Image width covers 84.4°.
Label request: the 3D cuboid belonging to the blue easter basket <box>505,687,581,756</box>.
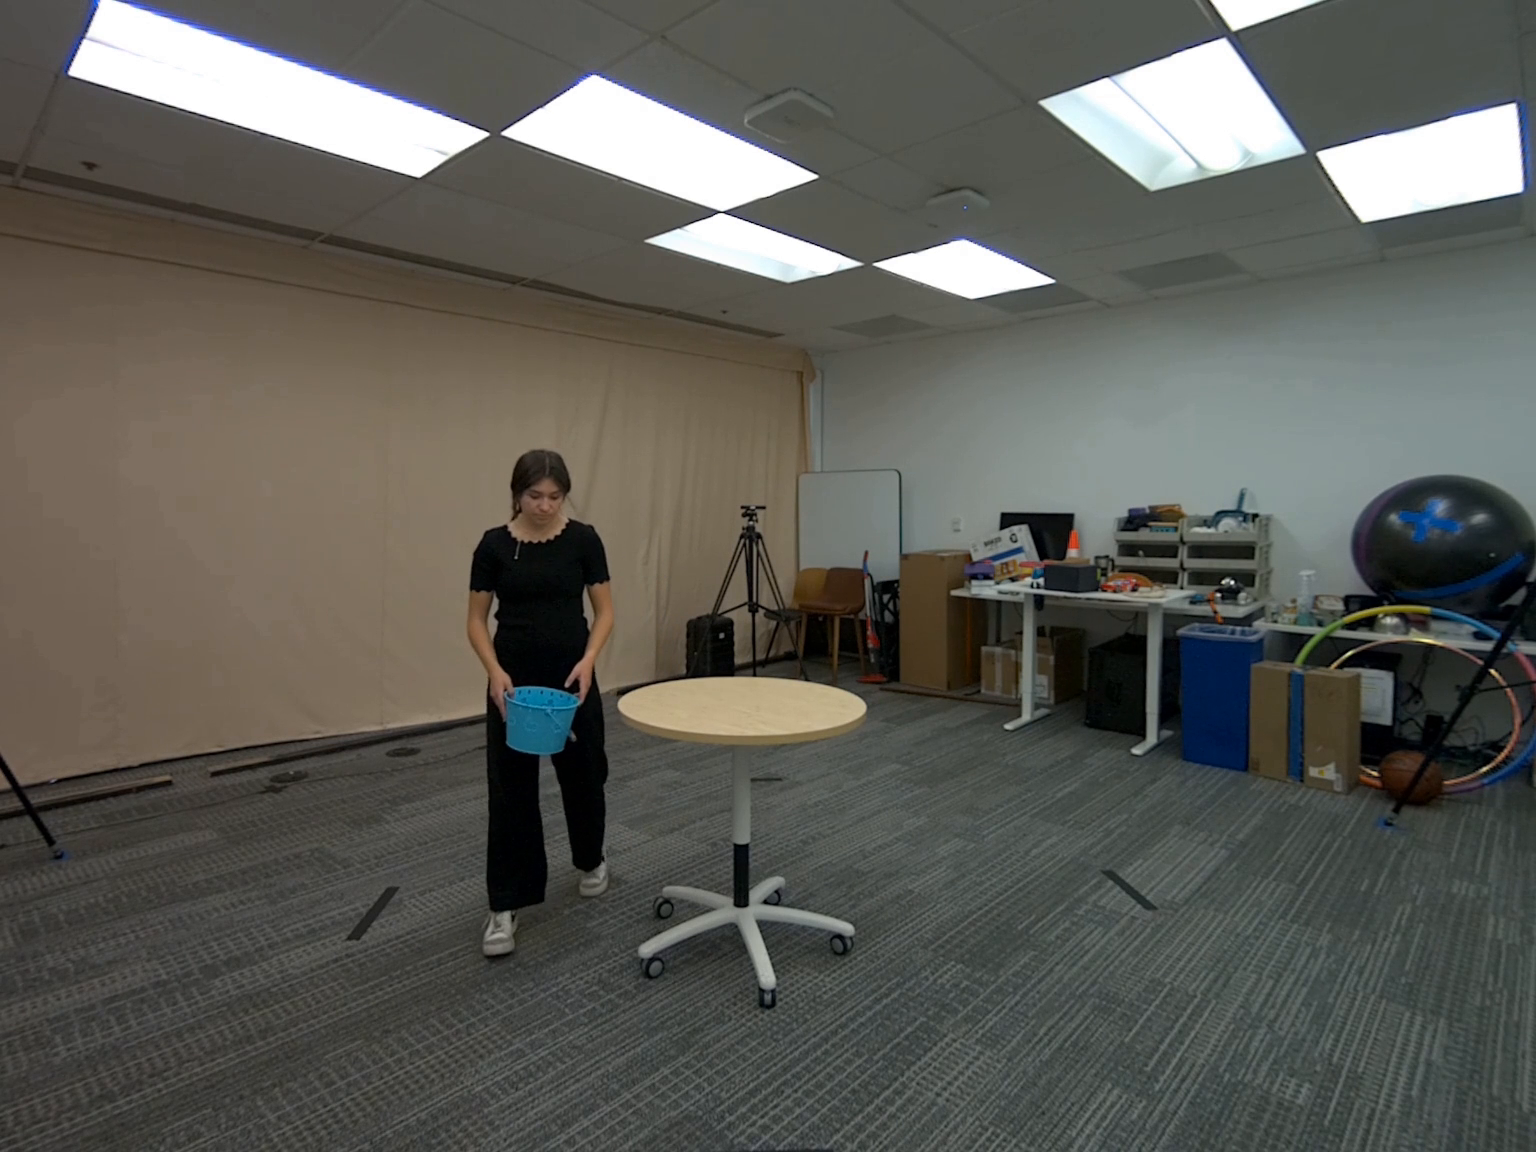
[{"bbox_3d":[-0.707,0.456,2.650,0.243,0.155,0.245,7,6,-3],"label":"blue easter basket"}]
